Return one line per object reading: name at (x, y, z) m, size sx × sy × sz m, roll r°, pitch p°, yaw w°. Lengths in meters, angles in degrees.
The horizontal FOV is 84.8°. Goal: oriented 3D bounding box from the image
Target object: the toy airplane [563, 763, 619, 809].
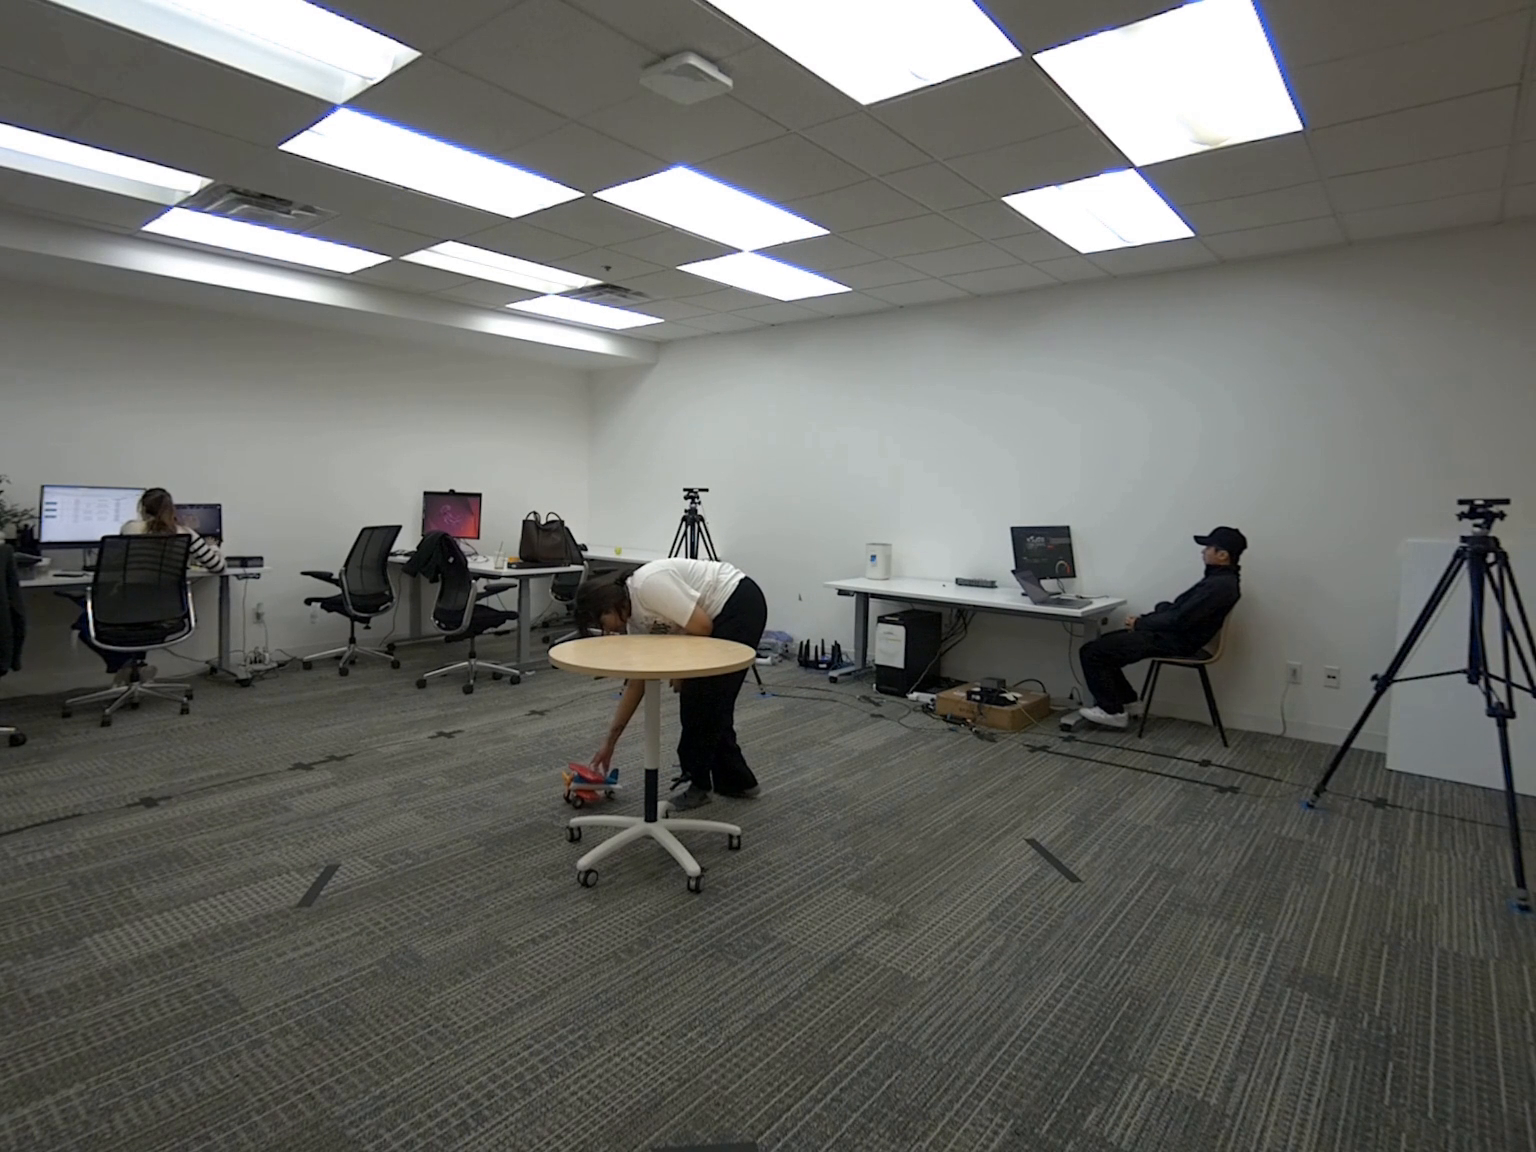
toy airplane at (-0.807, 0.923, 3.787) m, size 0.258 × 0.156 × 0.253 m, roll 2°, pitch 7°, yaw 28°
